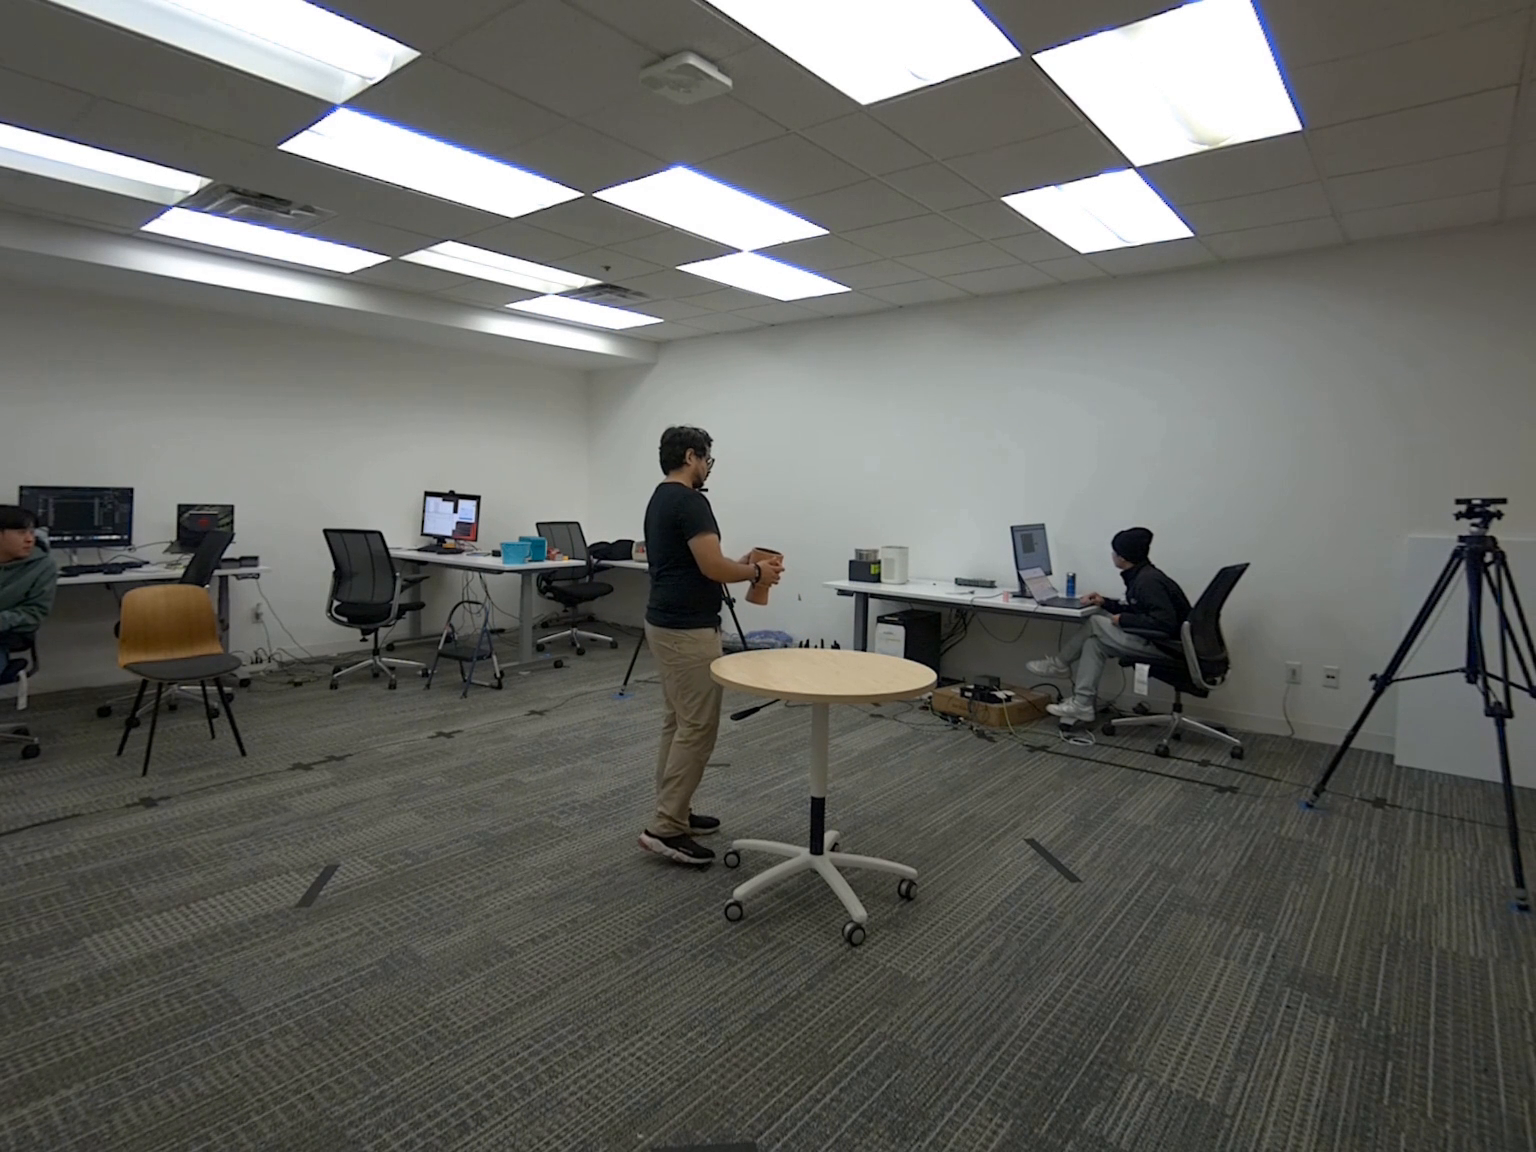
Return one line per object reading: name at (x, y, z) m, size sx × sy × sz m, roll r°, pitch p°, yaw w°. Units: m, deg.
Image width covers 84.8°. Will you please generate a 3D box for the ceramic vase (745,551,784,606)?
ceramic vase at (-0.034, 0.003, 3.517) m, size 0.134 × 0.218 × 0.160 m, roll 13°, pitch 9°, yaw -4°
